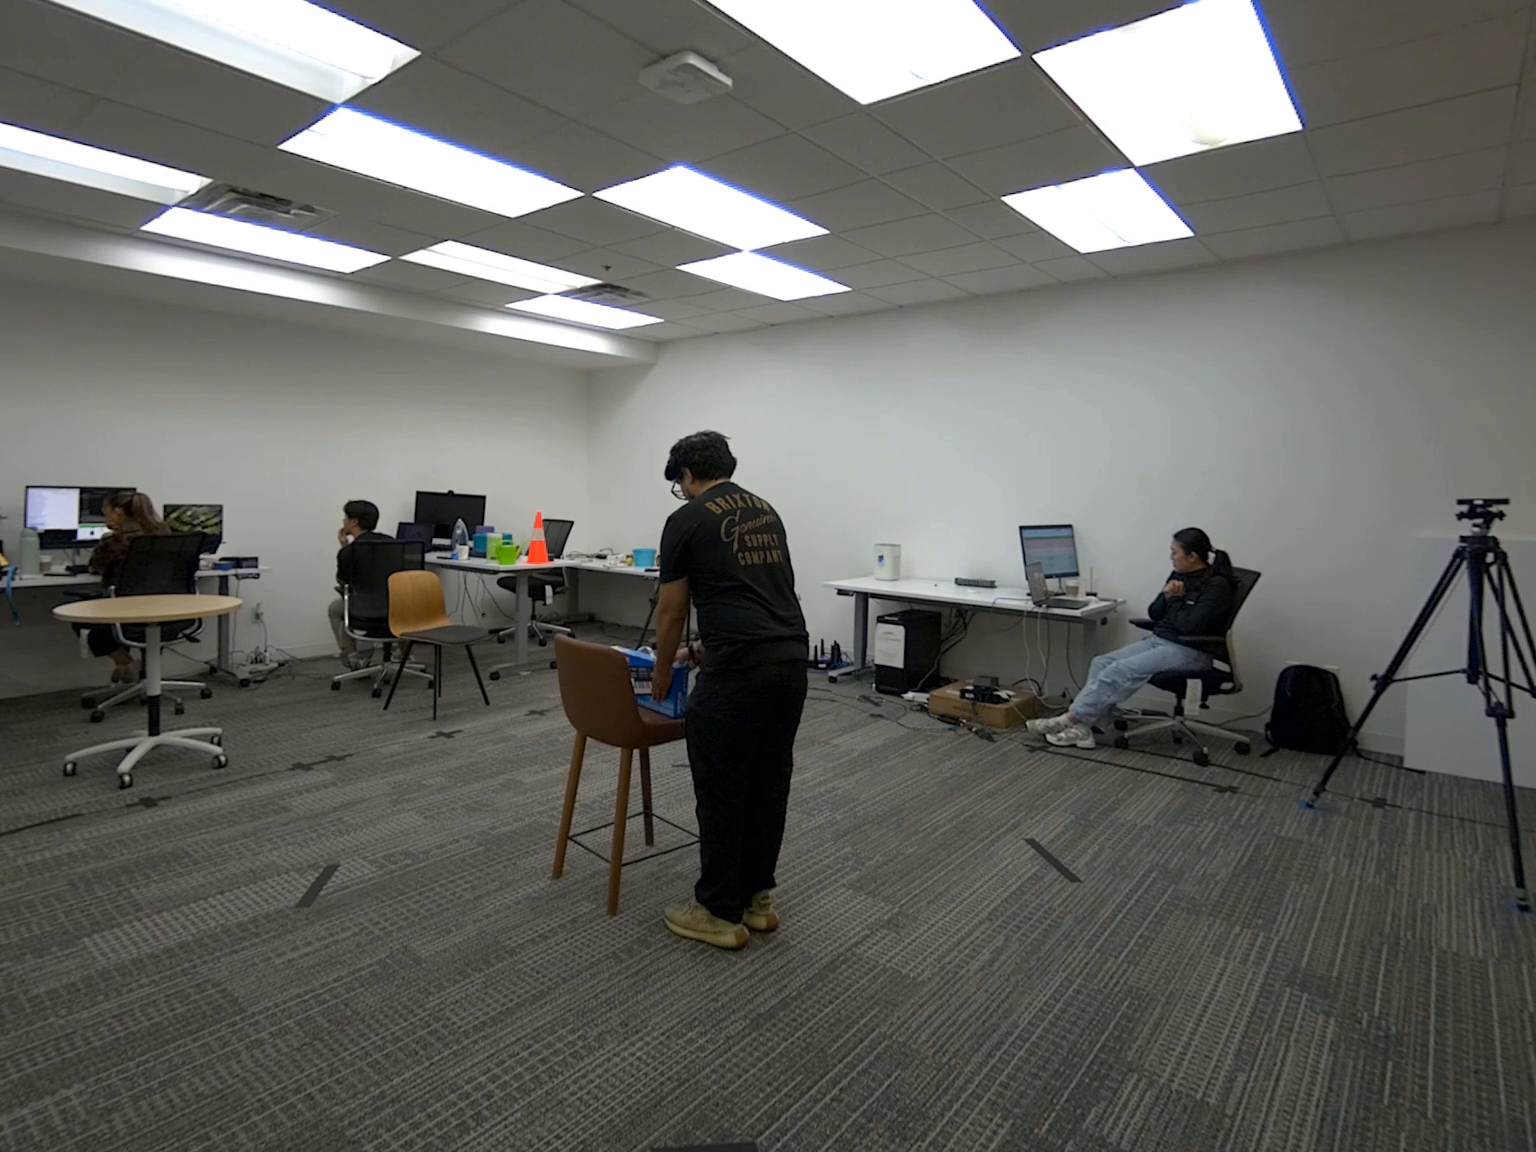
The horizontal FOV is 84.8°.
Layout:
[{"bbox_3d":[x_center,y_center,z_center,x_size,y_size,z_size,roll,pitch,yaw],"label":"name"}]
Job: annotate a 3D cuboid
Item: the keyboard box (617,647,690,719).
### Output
[{"bbox_3d":[-0.455,0.371,3.051,0.057,0.175,0.452,1,5,-43],"label":"keyboard box"}]
